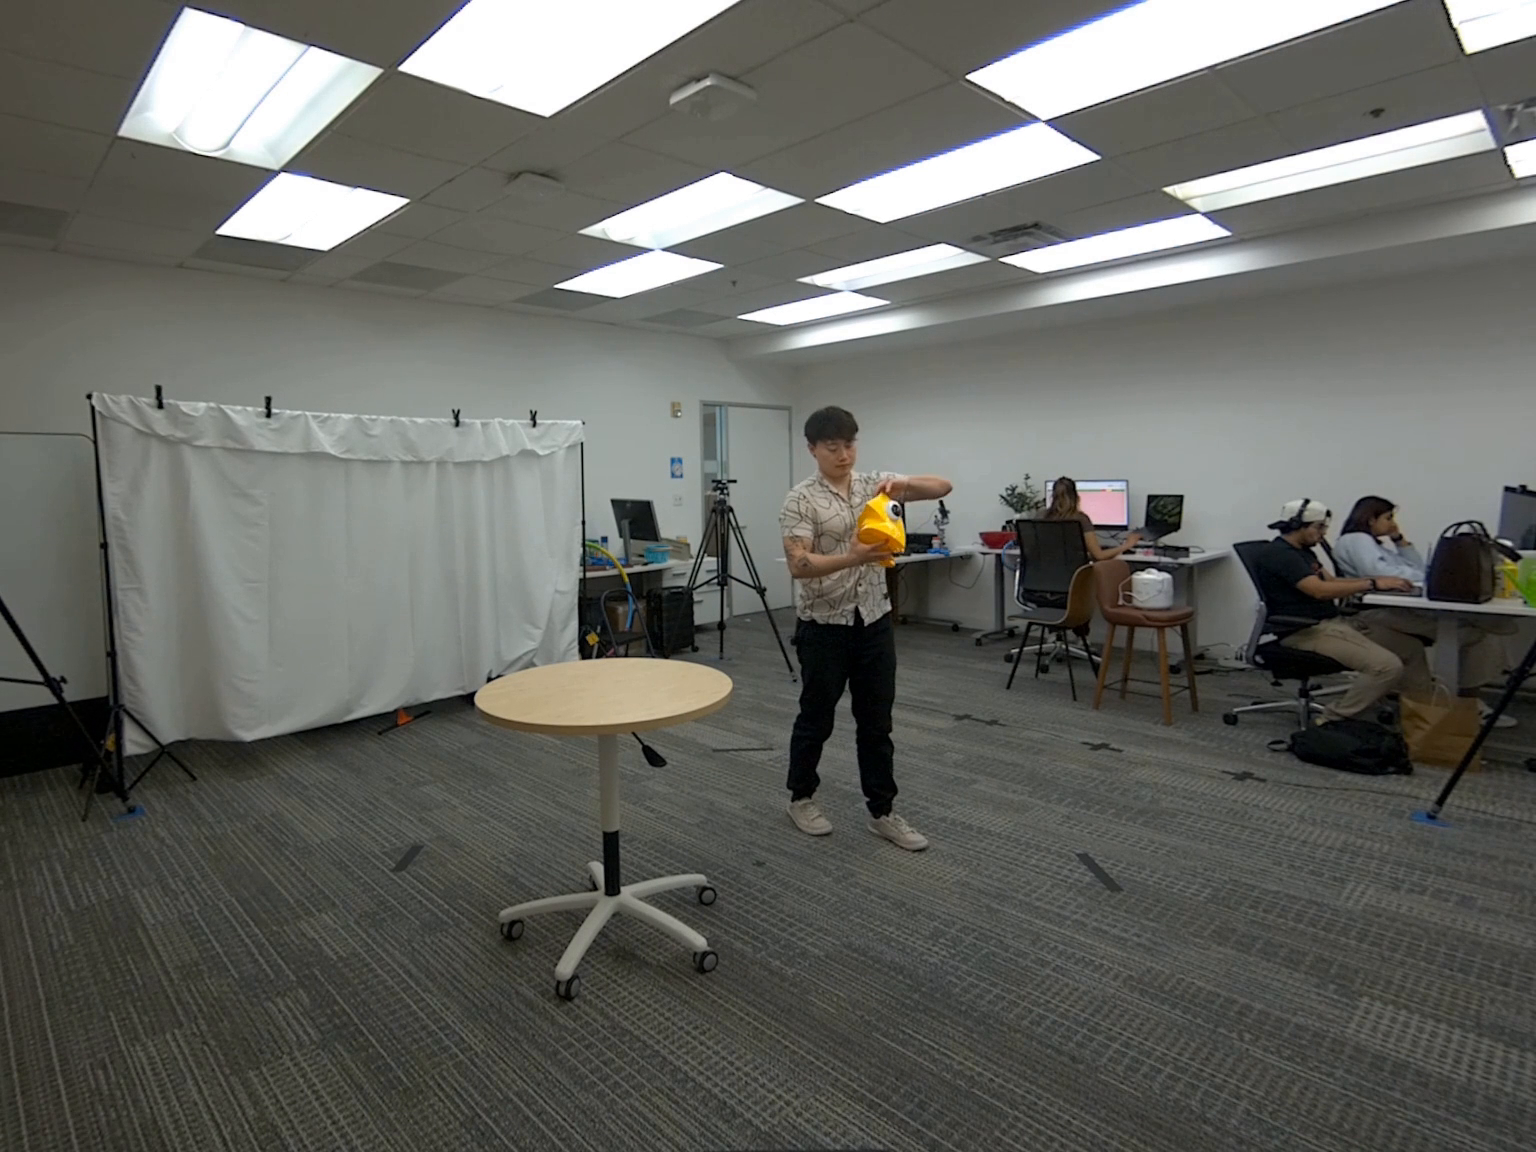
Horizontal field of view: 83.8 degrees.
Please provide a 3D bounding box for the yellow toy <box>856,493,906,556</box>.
[{"bbox_3d":[0.416,-0.192,3.010,0.195,0.232,0.201,26,-30,7],"label":"yellow toy"}]
